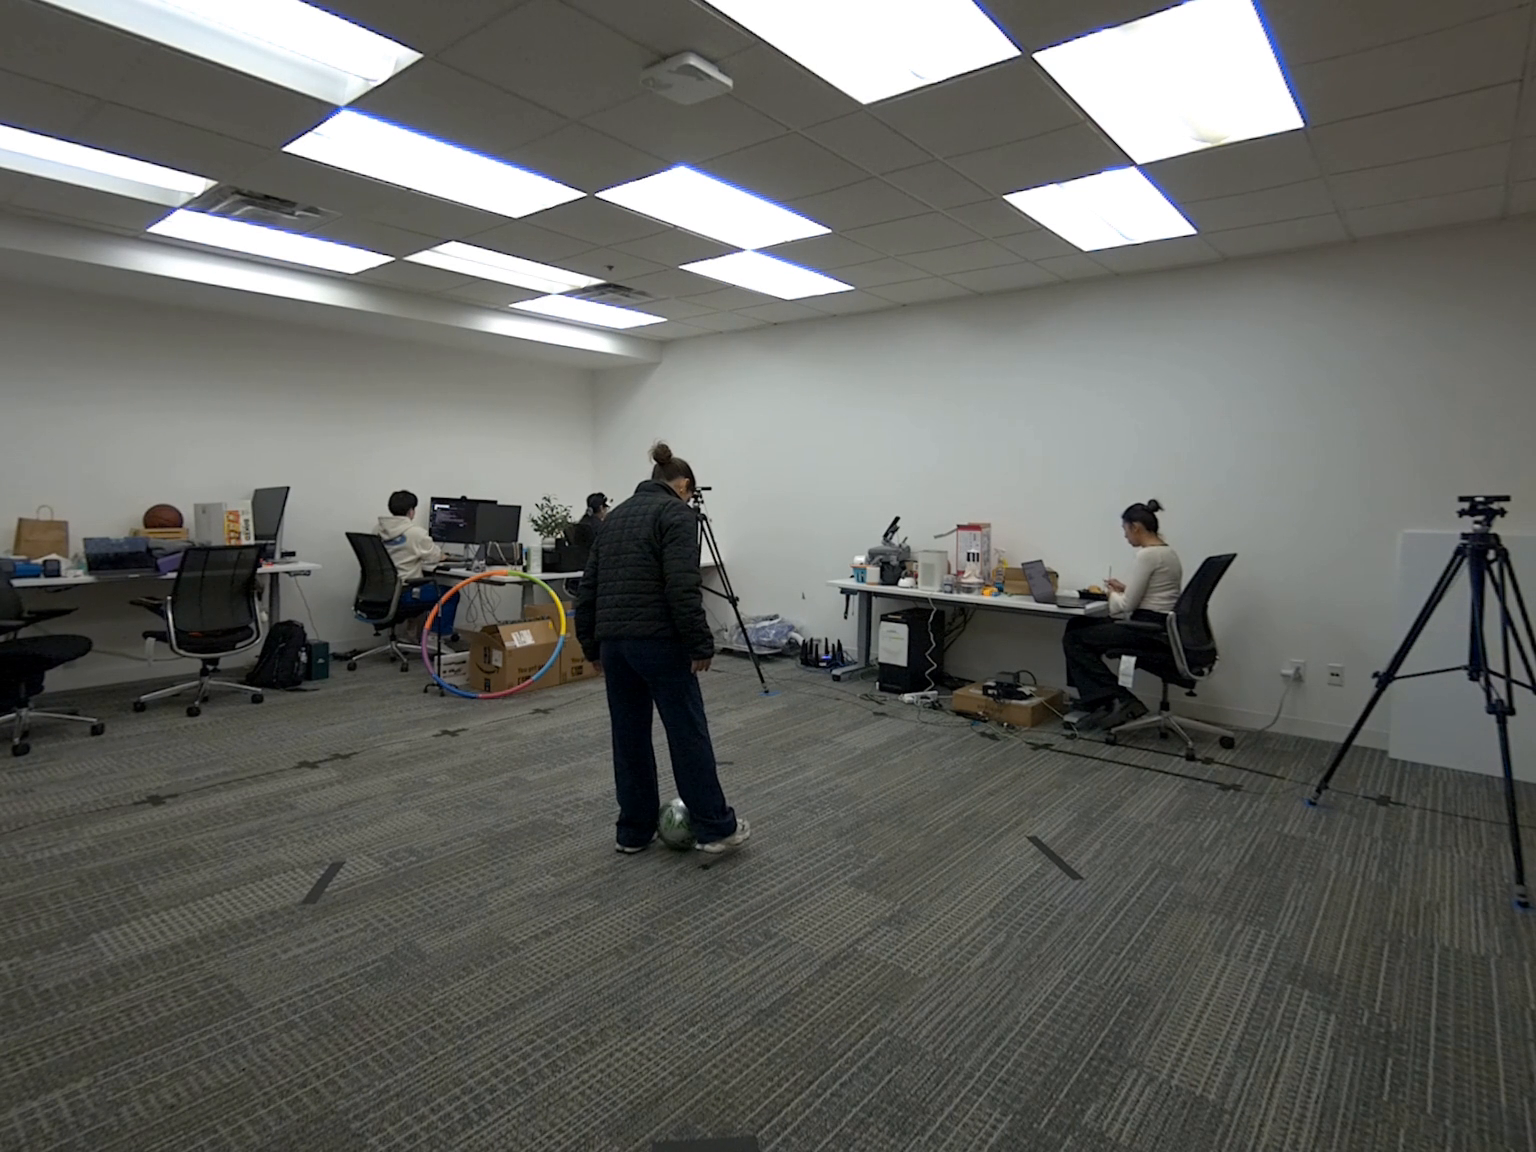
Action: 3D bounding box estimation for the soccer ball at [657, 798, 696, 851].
[{"bbox_3d":[-0.345,0.956,3.284,0.187,0.187,0.188,1,4,-2],"label":"soccer ball"}]
